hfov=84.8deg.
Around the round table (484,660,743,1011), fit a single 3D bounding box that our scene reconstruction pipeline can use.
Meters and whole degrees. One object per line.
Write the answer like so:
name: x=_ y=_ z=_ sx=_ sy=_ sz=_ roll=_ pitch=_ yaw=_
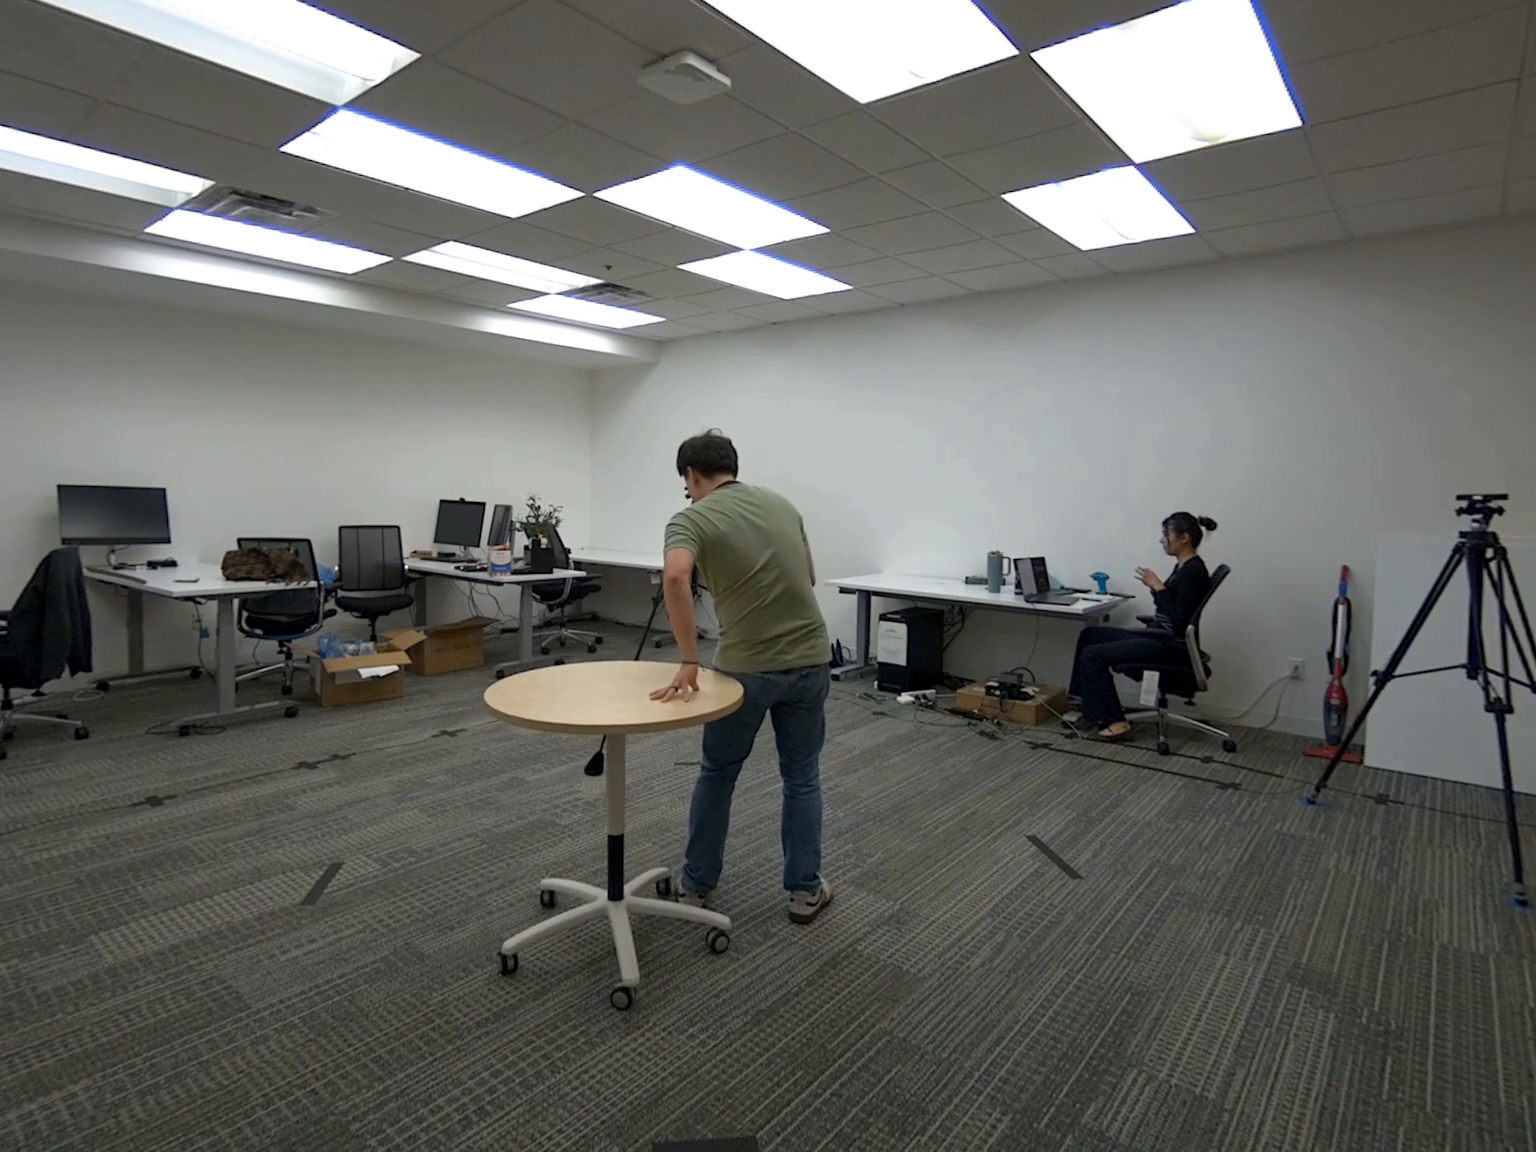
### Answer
round table: x=-0.470 y=0.728 z=2.566 sx=0.763 sy=0.791 sz=0.768 roll=0 pitch=5 yaw=-2
